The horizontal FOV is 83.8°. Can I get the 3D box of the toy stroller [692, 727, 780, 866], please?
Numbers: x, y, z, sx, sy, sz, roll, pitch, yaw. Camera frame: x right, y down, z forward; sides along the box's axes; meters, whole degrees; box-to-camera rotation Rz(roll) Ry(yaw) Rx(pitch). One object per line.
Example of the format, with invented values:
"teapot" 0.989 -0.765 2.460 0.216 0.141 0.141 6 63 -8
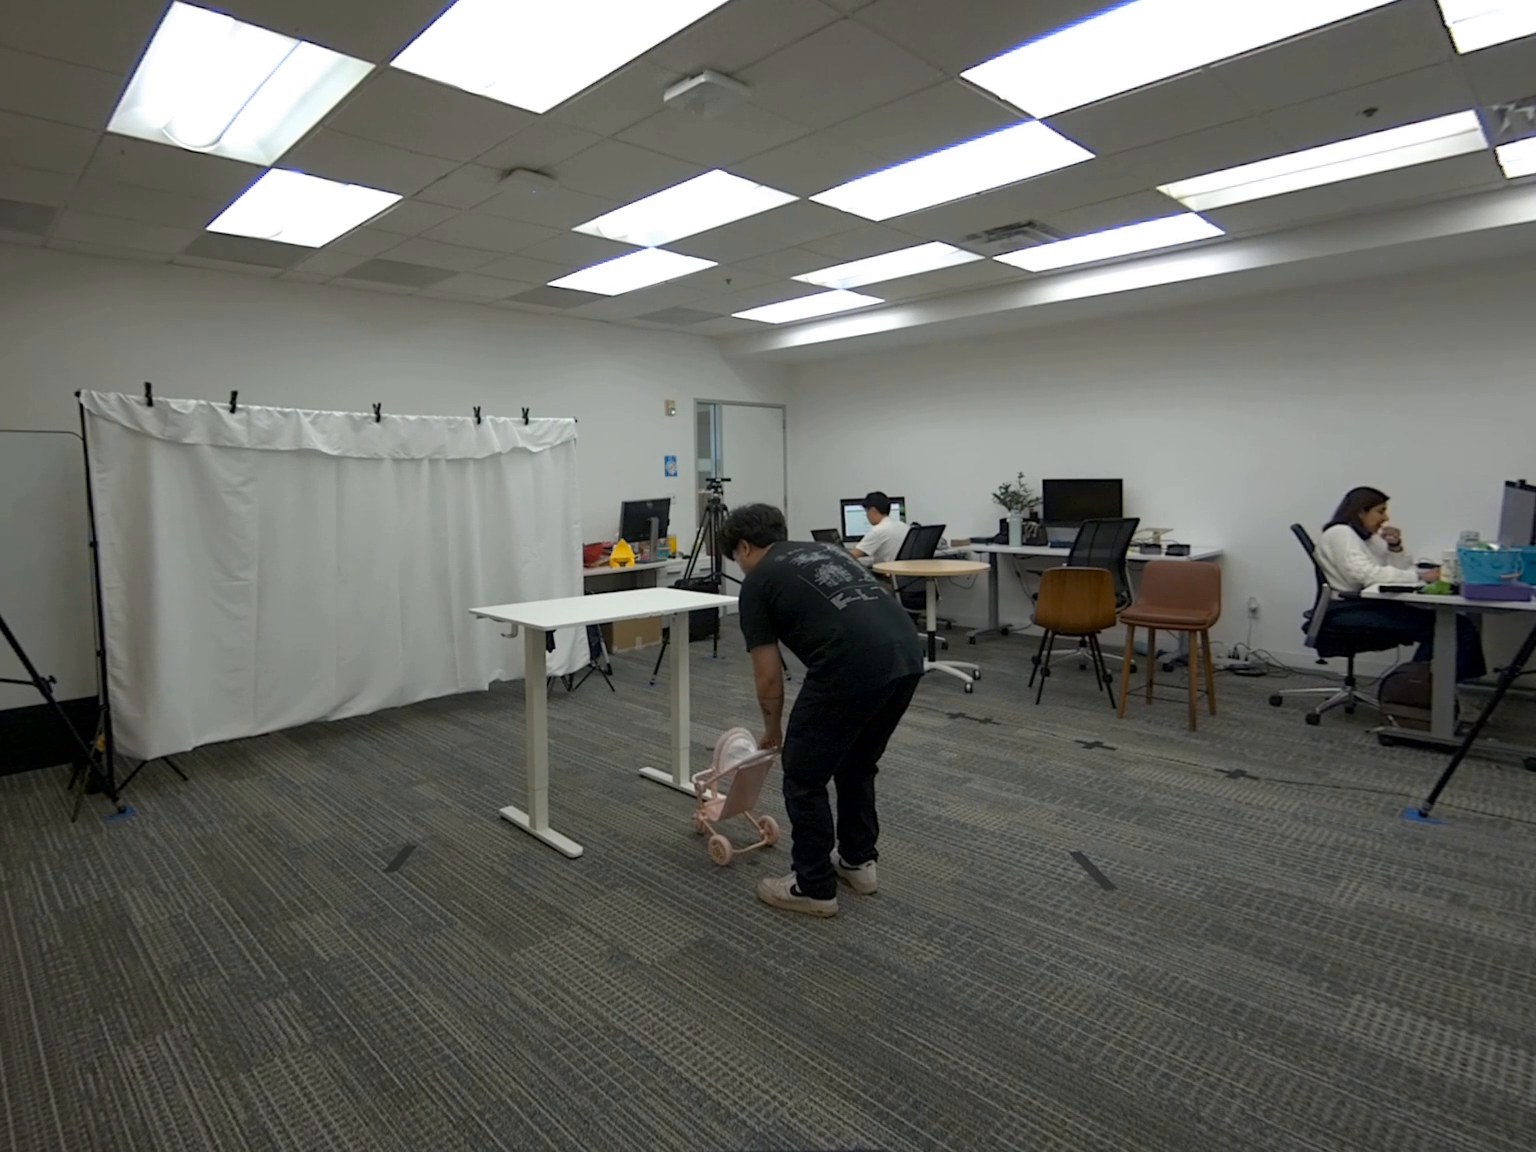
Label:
"toy stroller" -0.131 0.806 3.213 0.274 0.529 0.354 -4 21 -40
